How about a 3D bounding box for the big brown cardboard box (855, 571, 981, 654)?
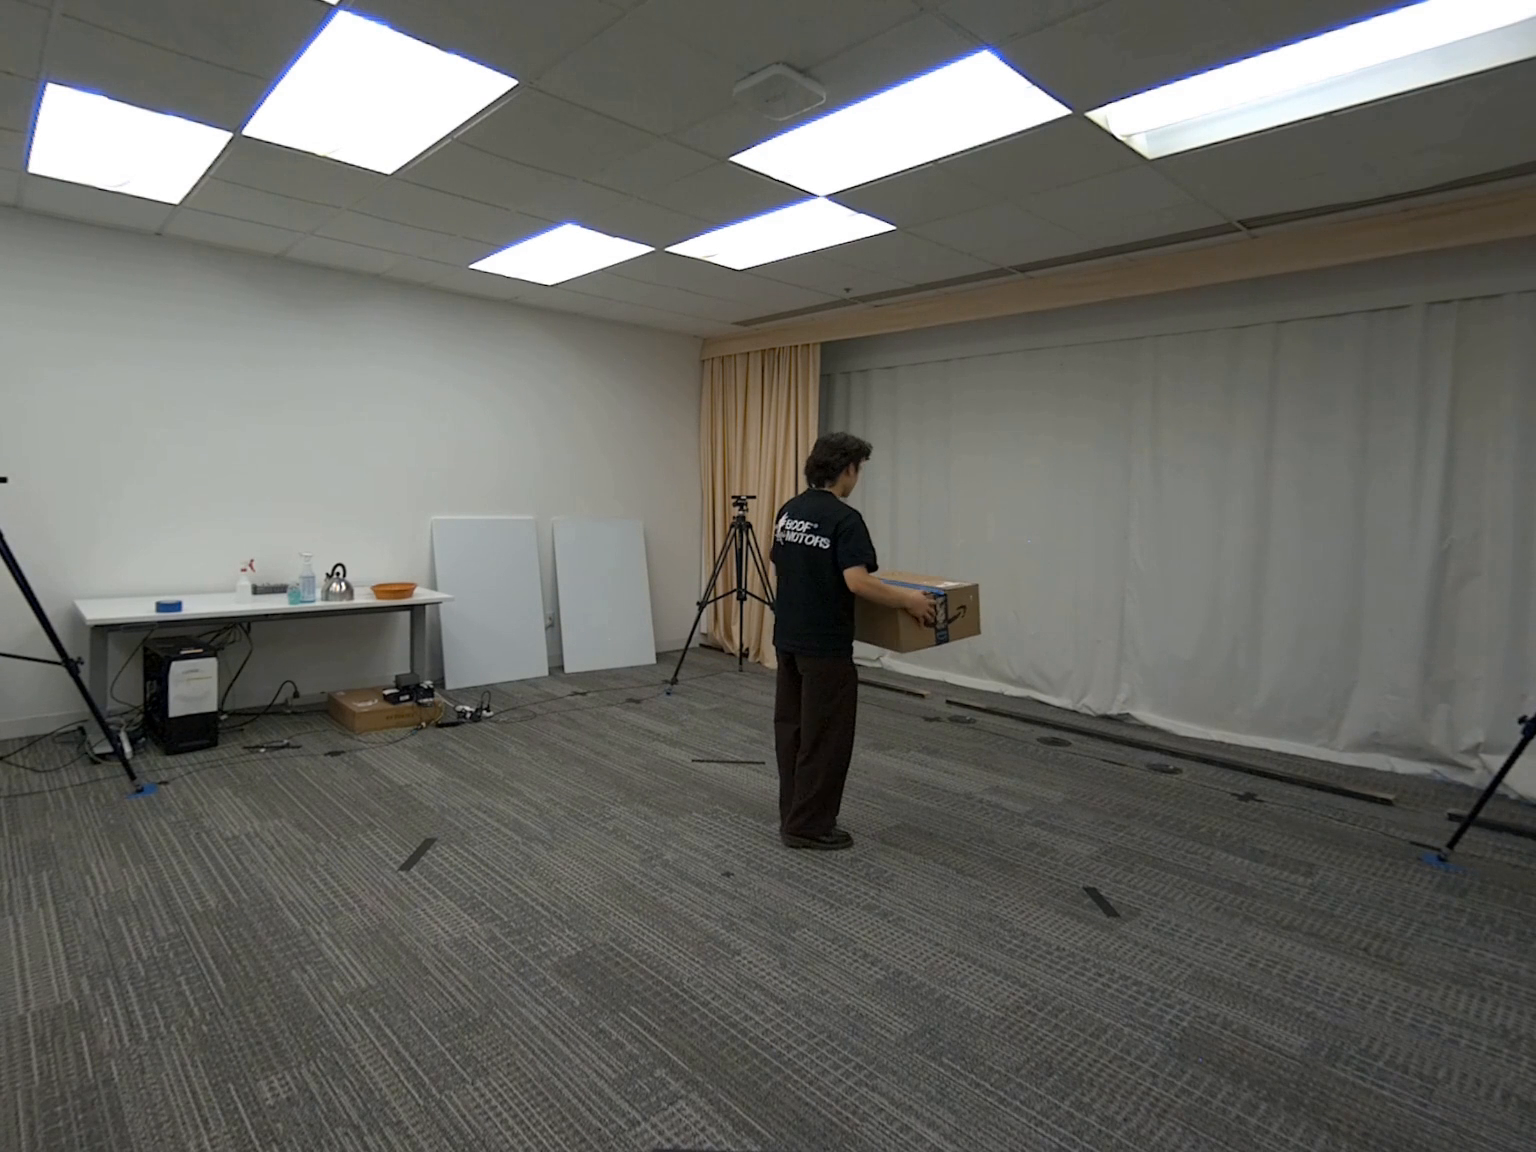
[{"bbox_3d":[0.537,0.137,3.605,0.411,0.232,0.602,-10,10,-29],"label":"big brown cardboard box"}]
